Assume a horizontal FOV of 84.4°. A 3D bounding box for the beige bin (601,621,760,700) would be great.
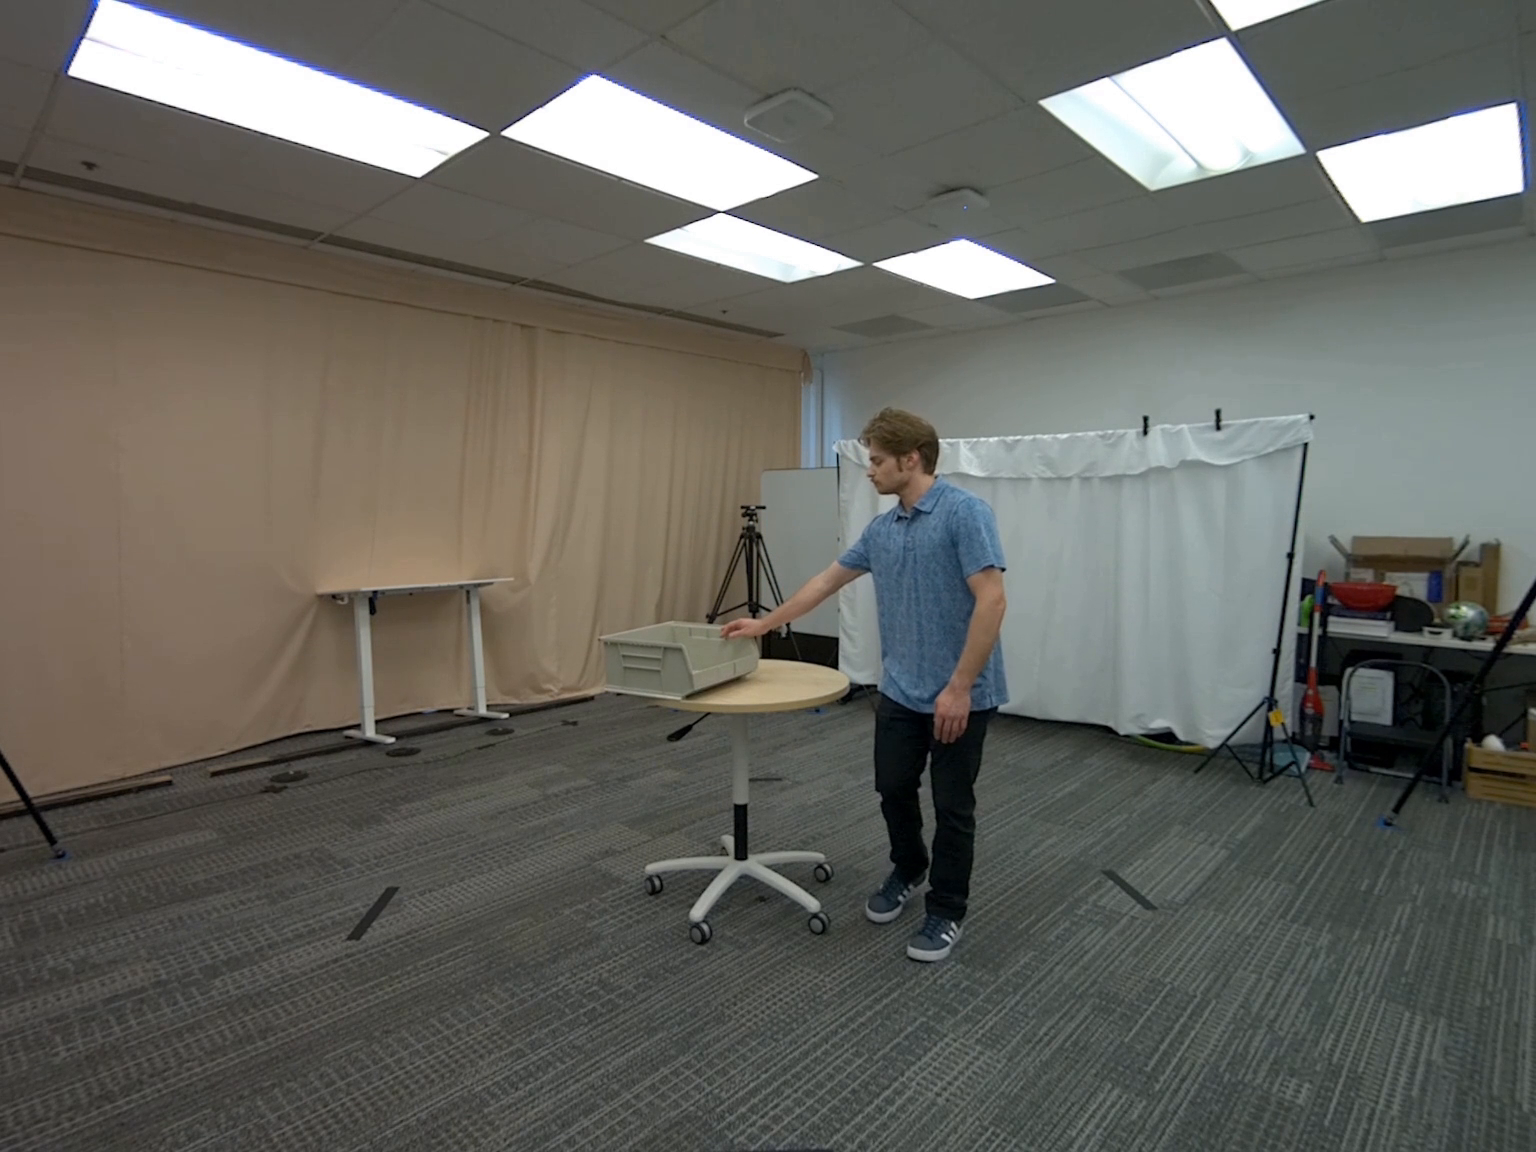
[{"bbox_3d":[-0.295,0.284,2.873,0.388,0.188,0.411,0,5,30],"label":"beige bin"}]
